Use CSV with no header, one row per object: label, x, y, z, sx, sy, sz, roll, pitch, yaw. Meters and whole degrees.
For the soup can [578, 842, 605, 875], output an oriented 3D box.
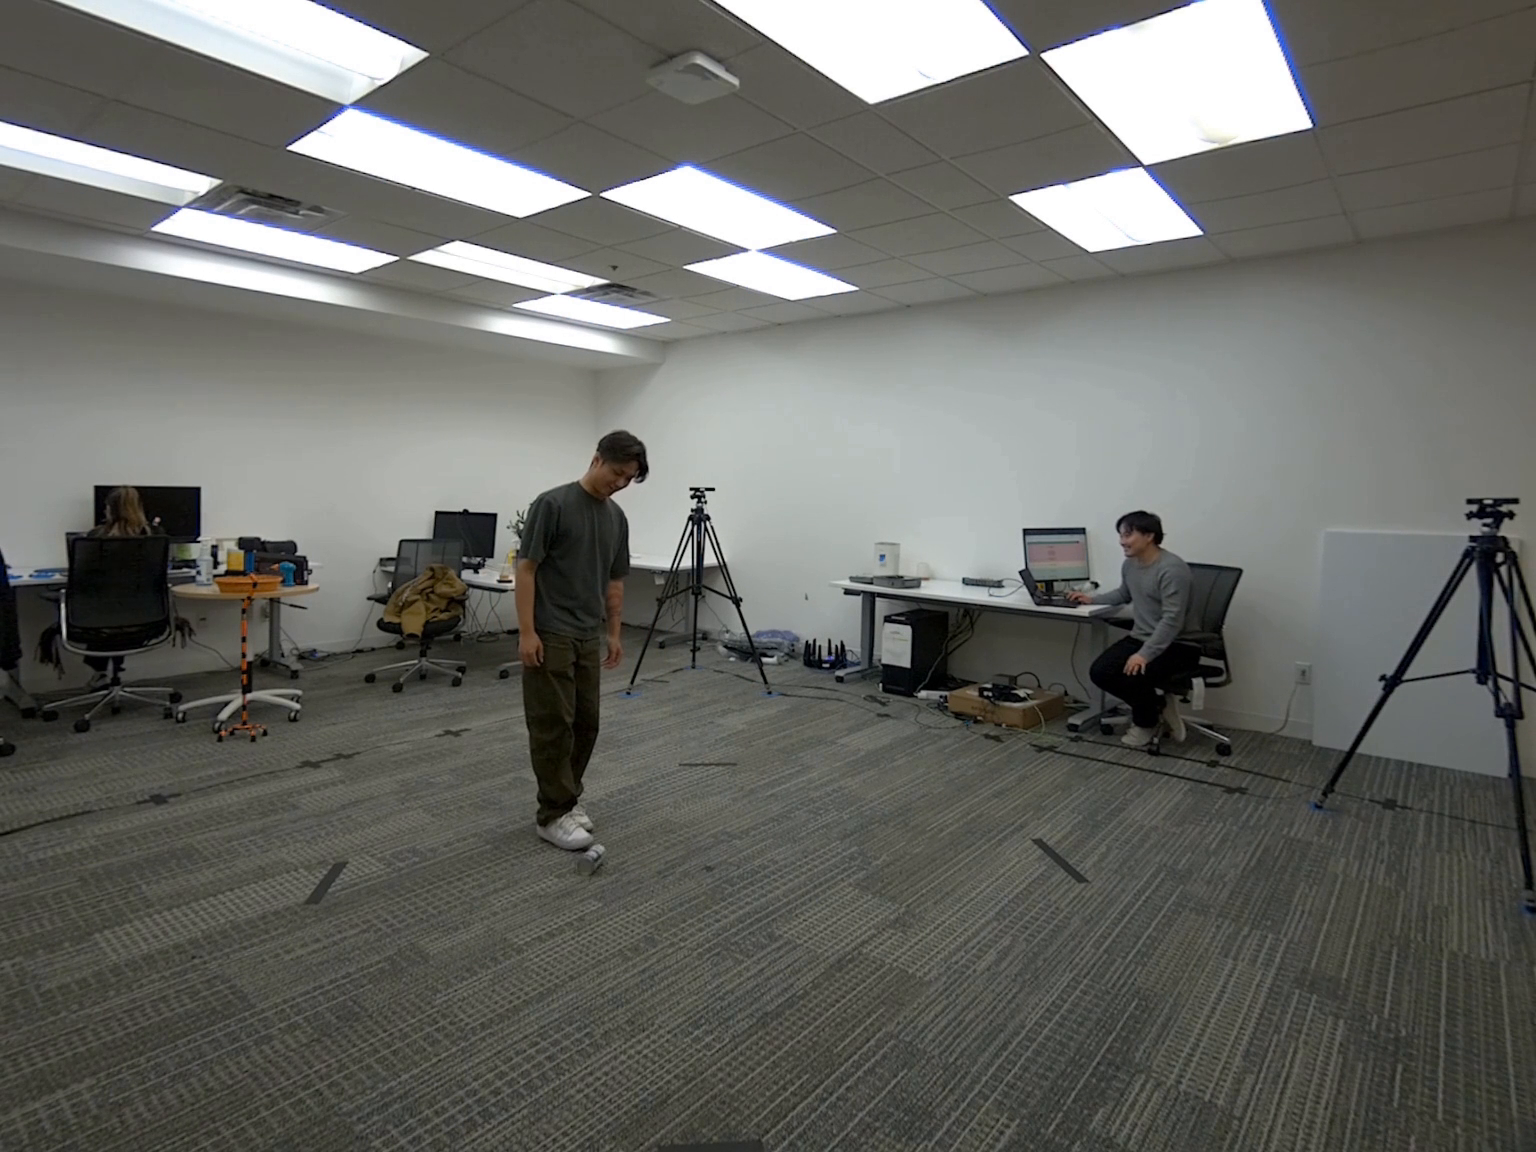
soup can,-0.666,1.040,3.123,0.067,0.067,0.121,1,8,4
